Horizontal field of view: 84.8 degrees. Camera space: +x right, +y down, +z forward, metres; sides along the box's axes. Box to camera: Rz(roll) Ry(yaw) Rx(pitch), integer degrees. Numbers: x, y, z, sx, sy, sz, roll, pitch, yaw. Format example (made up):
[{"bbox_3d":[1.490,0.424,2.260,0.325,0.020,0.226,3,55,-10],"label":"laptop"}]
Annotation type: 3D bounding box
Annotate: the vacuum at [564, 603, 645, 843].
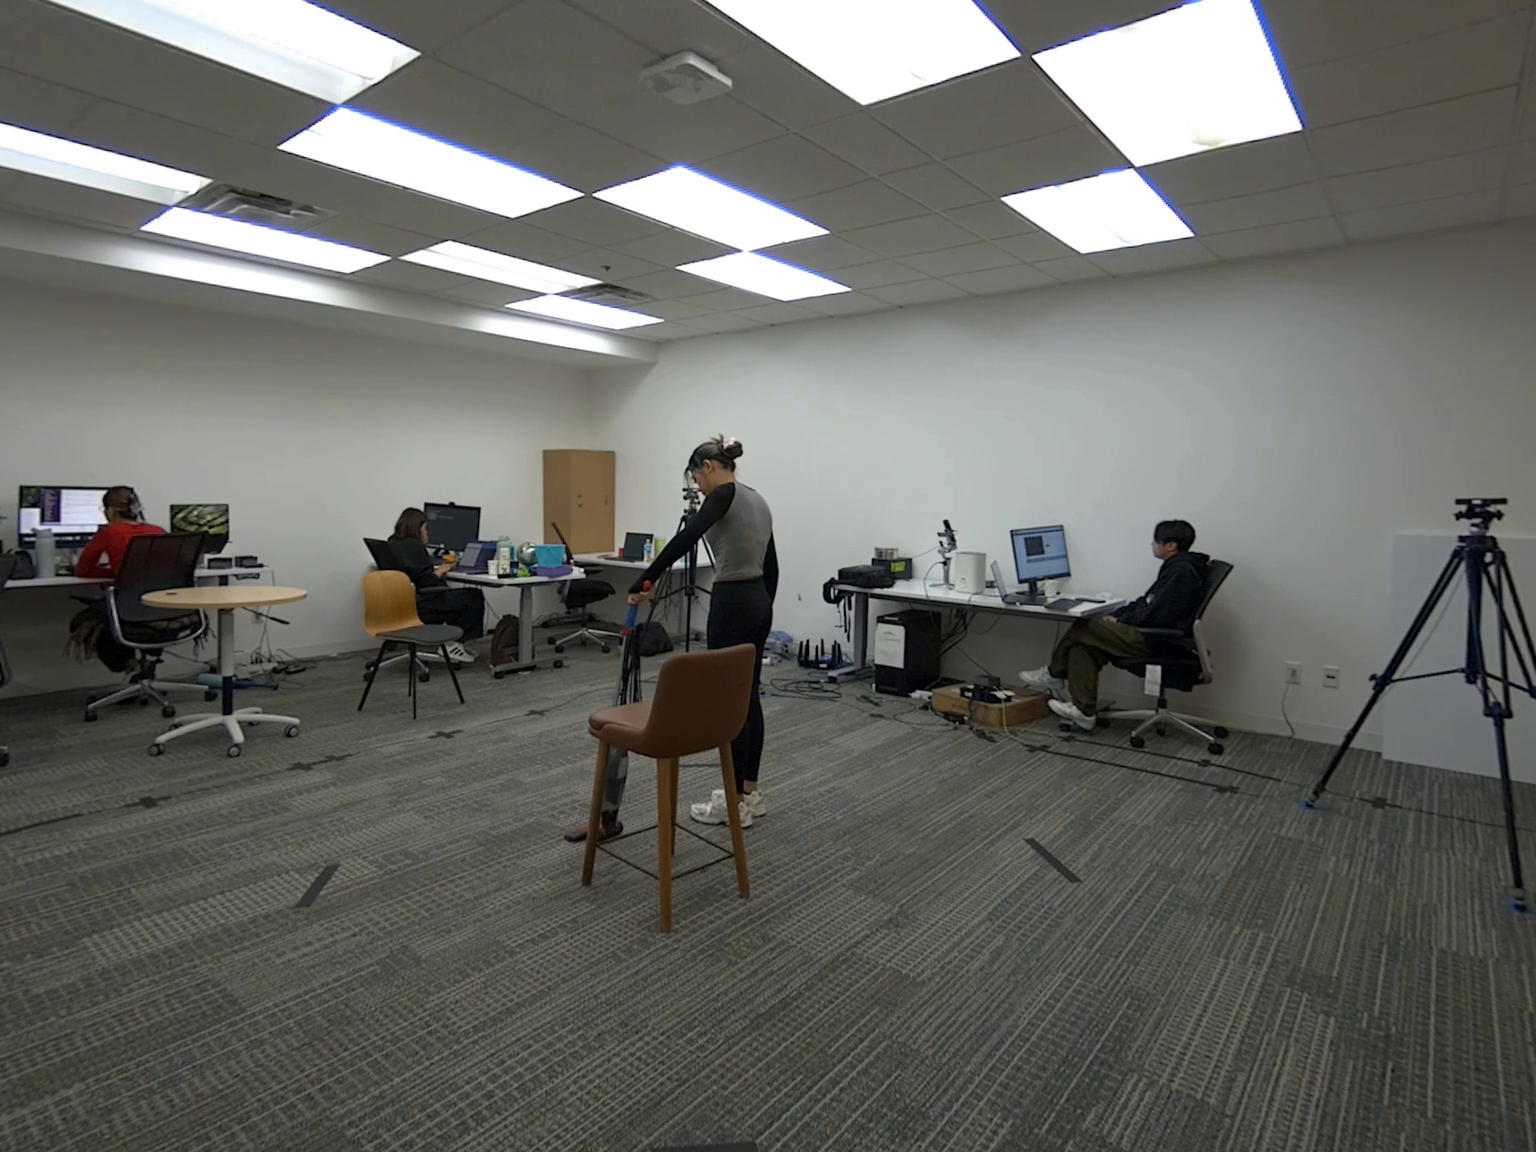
[{"bbox_3d":[-0.585,0.535,3.332,0.149,1.042,0.245,18,11,37],"label":"vacuum"}]
